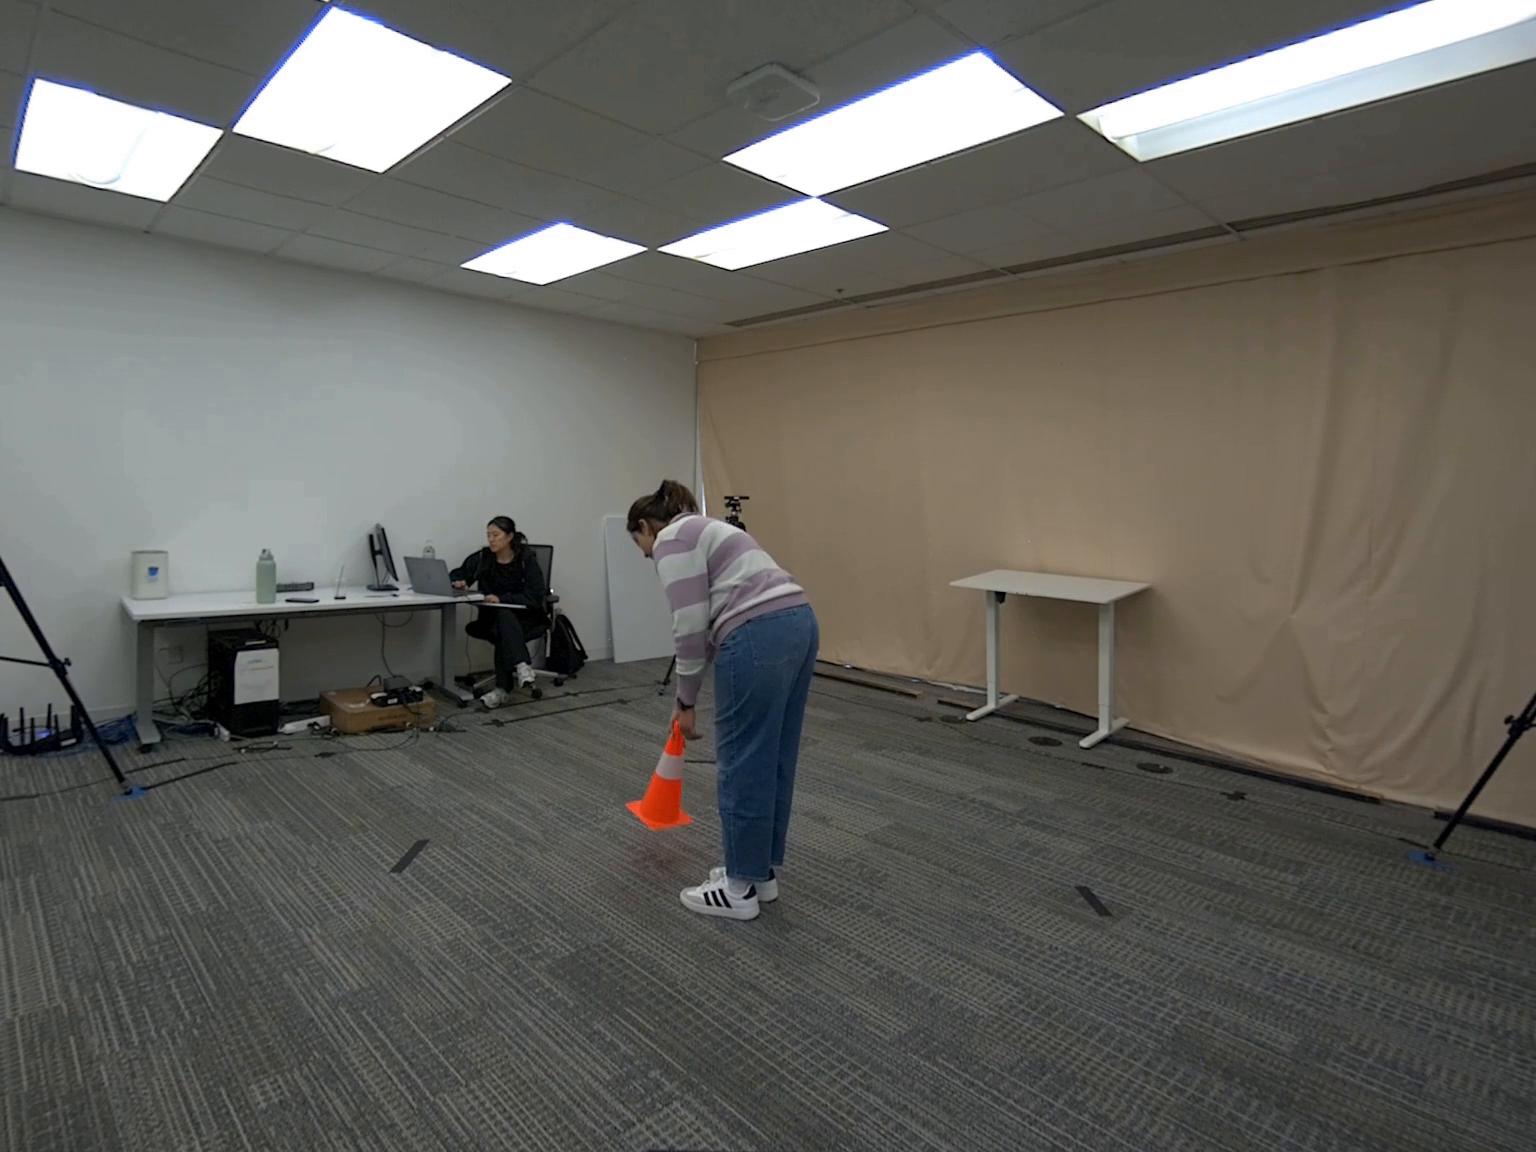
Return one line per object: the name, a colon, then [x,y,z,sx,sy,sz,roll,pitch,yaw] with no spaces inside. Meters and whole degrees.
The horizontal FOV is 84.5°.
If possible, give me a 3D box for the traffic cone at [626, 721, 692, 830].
traffic cone: [-0.381,0.731,3.195,0.198,0.381,0.211,2,16,-44]
